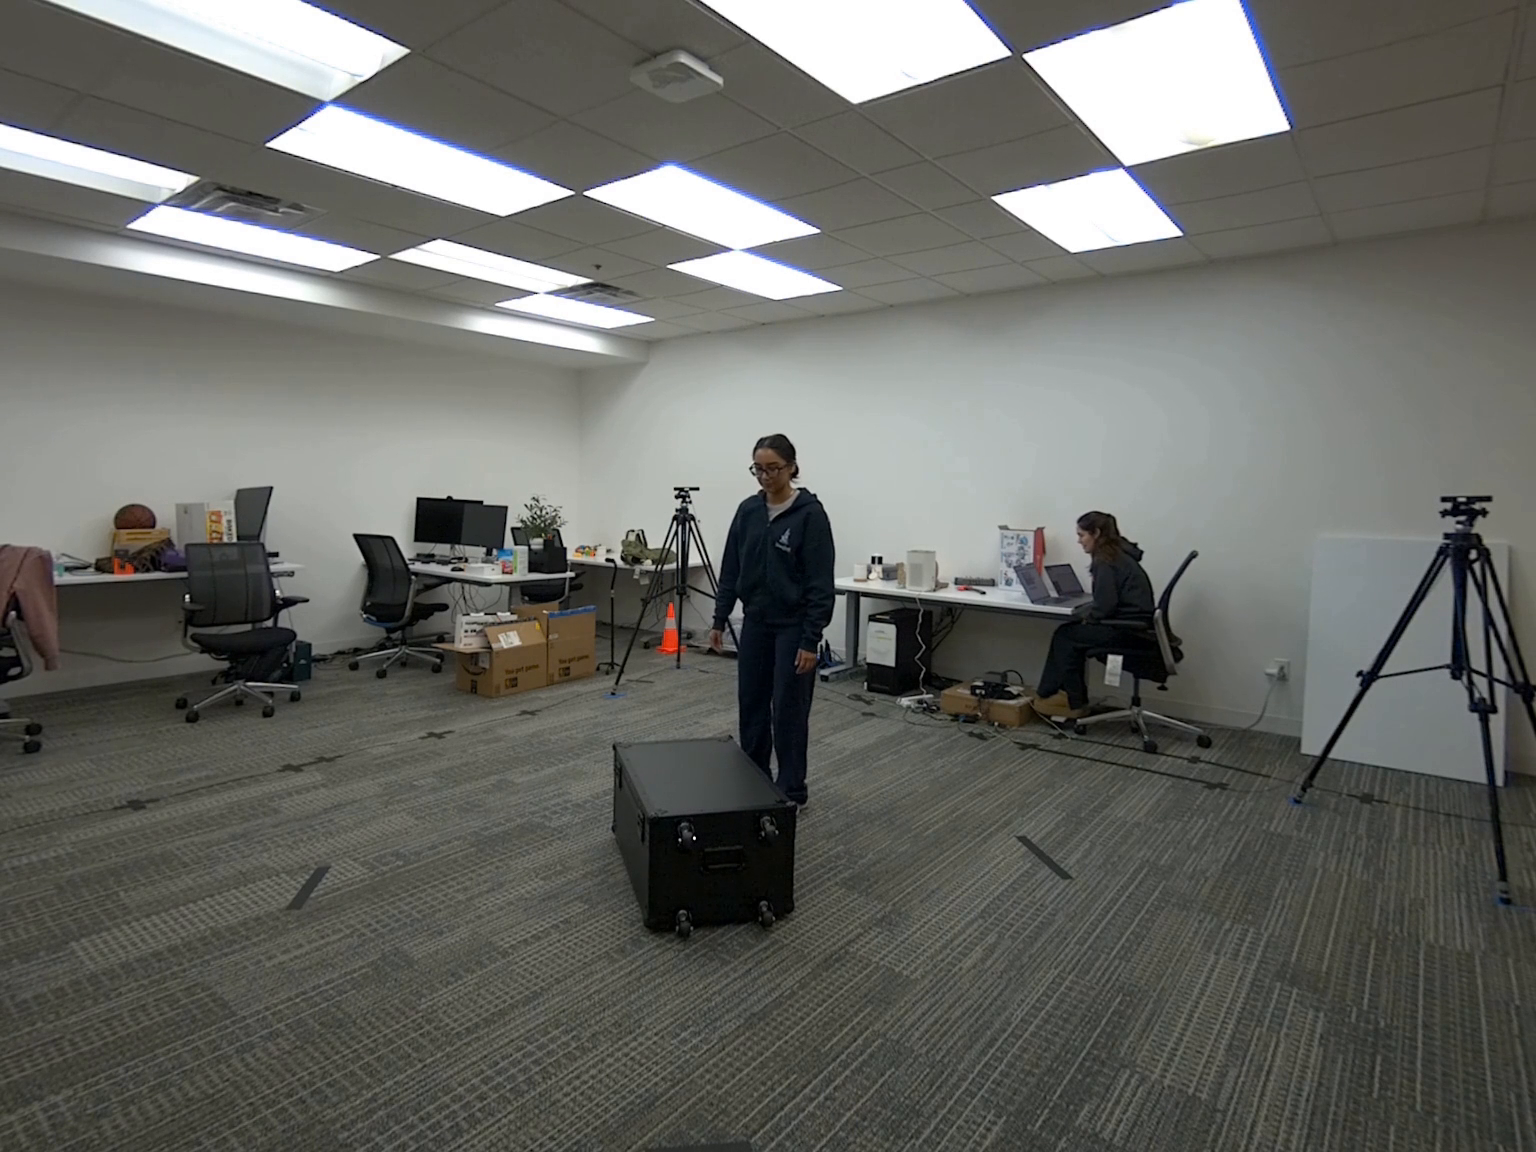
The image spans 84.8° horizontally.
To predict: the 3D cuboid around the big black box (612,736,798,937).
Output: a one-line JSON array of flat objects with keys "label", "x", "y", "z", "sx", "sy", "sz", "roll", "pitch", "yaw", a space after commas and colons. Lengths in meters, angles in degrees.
[{"label": "big black box", "x": -0.264, "y": 0.883, "z": 3.016, "sx": 0.512, "sy": 0.395, "sz": 0.880, "roll": -1, "pitch": 5, "yaw": -18}]
